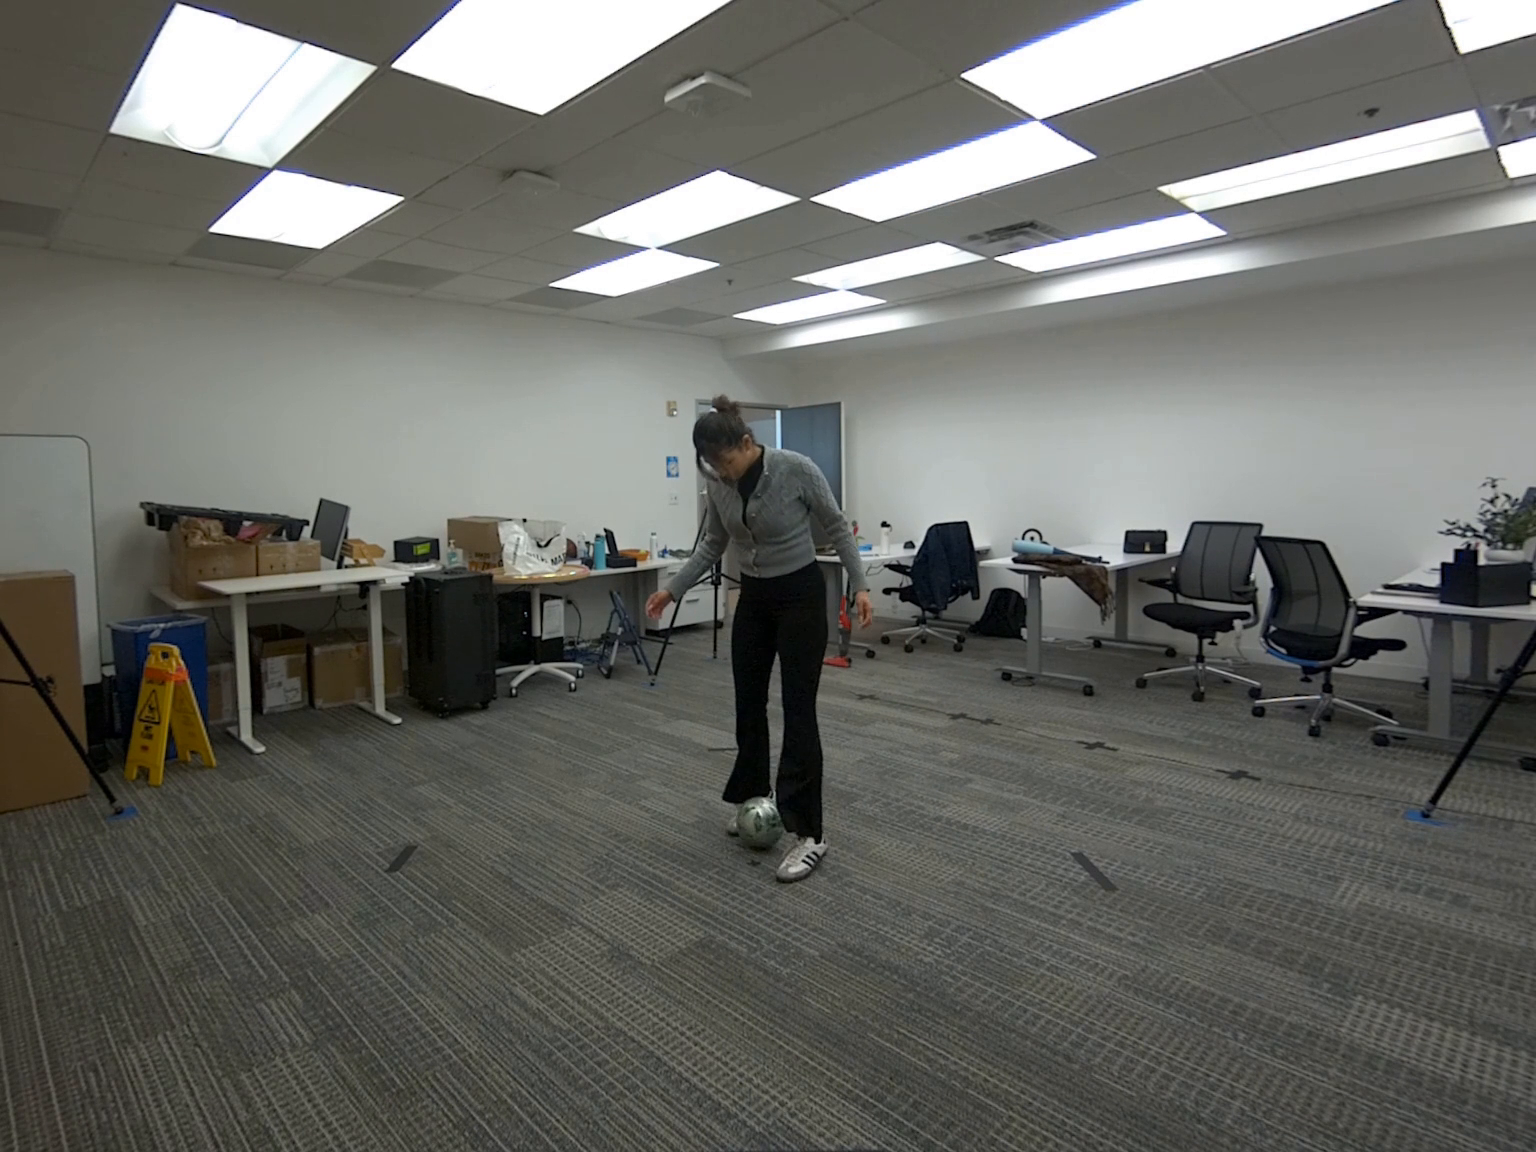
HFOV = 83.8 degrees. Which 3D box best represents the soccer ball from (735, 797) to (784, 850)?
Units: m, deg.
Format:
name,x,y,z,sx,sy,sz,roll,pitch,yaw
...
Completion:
name,x,y,z,sx,sy,sz,roll,pitch,yaw
soccer ball,-0.032,0.937,3.249,0.187,0.187,0.188,-1,5,-2
